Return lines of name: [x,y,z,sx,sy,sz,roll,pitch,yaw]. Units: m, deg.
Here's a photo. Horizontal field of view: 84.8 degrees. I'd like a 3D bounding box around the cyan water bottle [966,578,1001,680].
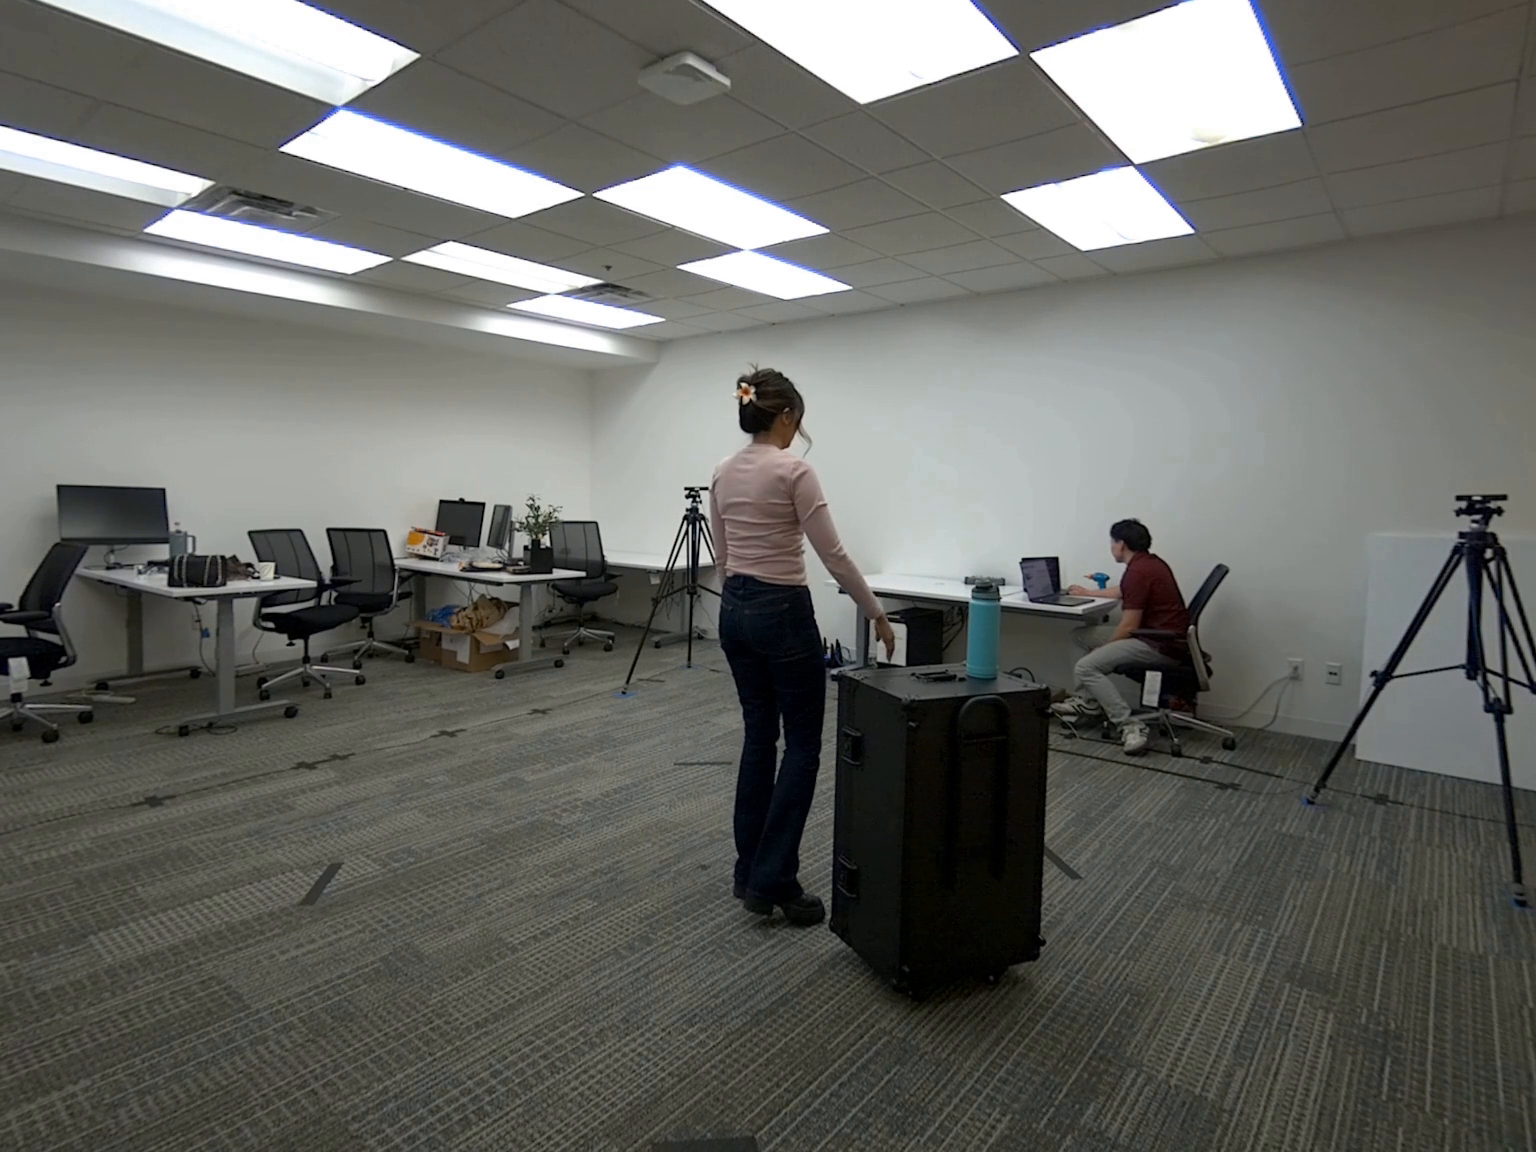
cyan water bottle: [0.639,0.152,2.513,0.092,0.283,0.093,2,3,-2]
